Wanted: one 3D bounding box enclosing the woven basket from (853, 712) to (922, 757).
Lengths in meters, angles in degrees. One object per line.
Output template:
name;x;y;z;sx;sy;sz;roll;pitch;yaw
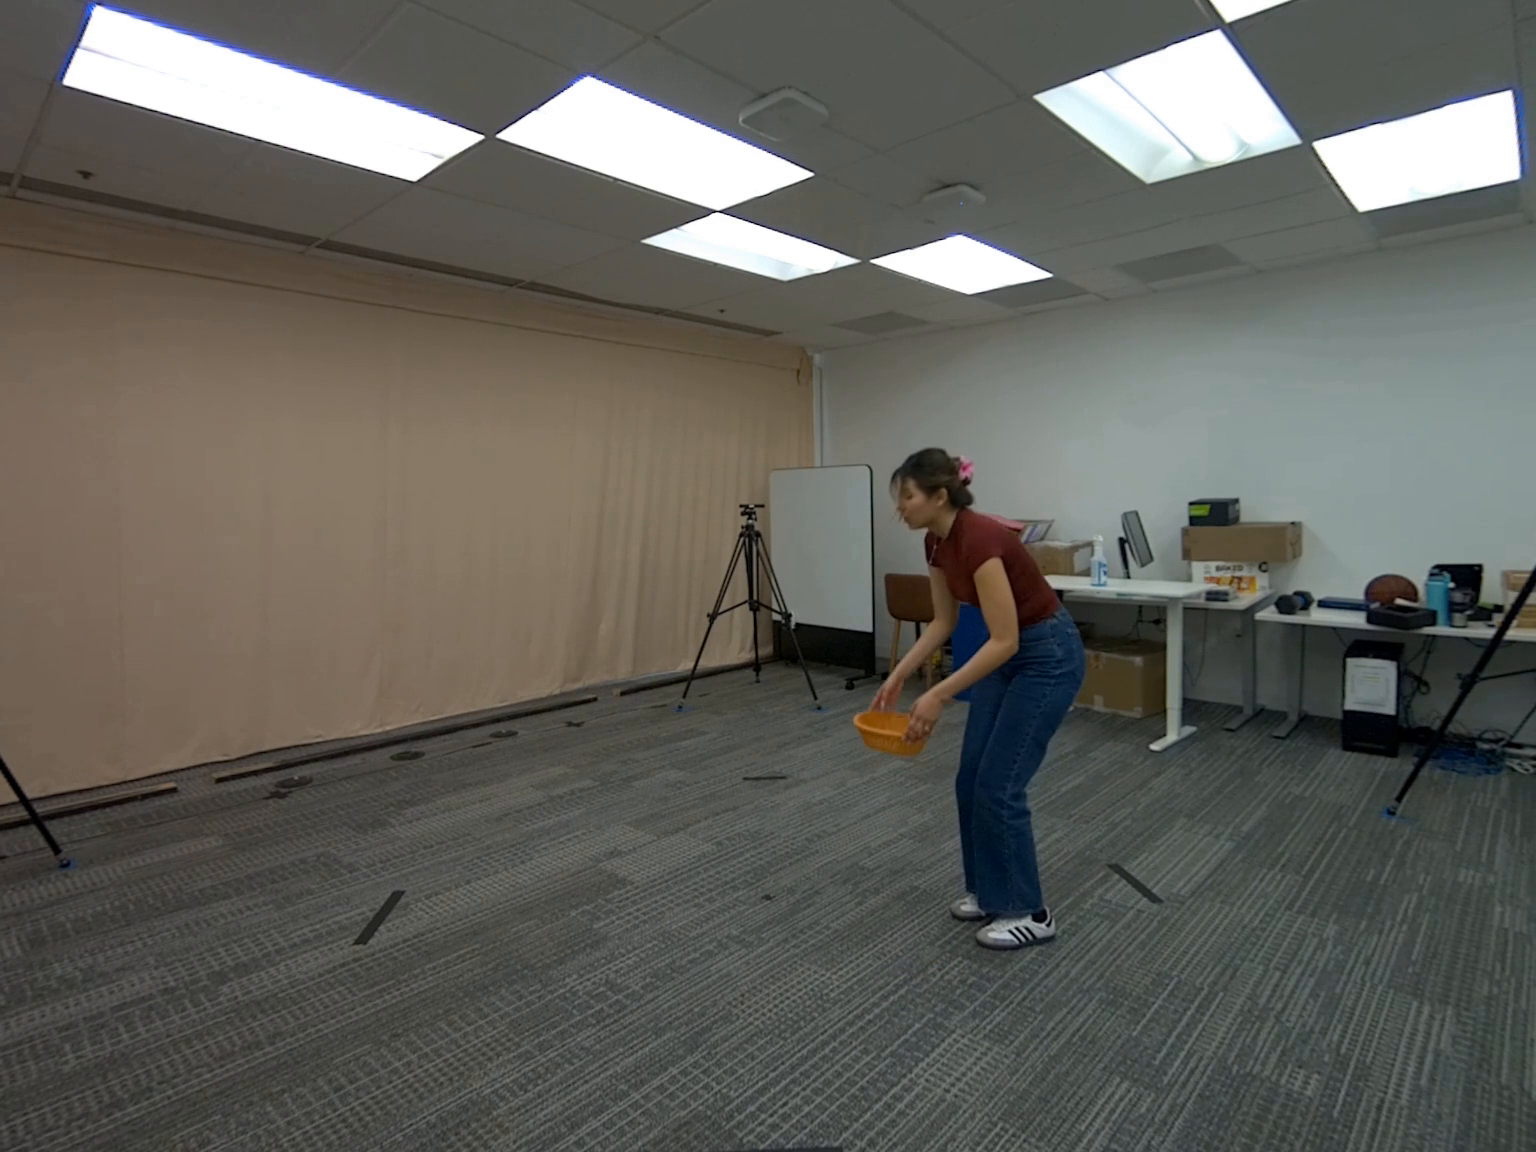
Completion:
woven basket;0.416;0.512;2.689;0.254;0.073;0.349;5;2;3
